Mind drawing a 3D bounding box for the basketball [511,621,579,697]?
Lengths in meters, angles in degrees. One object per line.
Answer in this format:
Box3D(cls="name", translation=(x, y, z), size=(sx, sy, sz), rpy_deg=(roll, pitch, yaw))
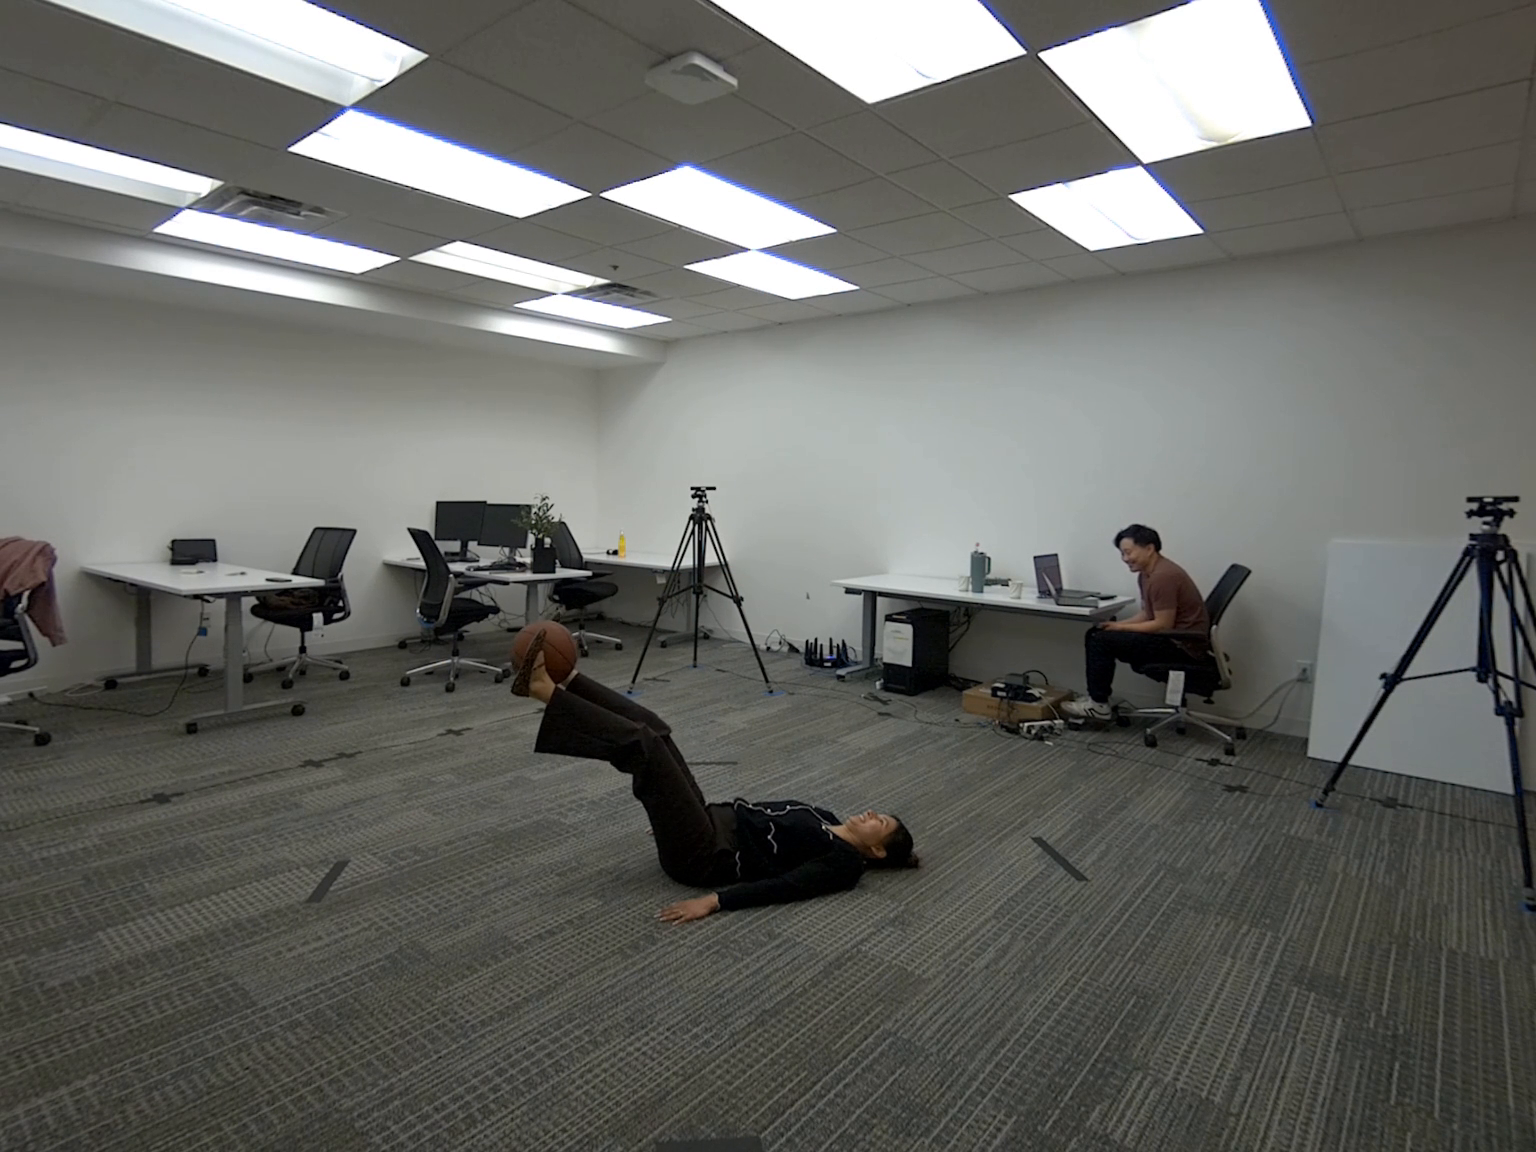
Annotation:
Box3D(cls="basketball", translation=(-0.802, 0.269, 3.014), size=(0.236, 0.234, 0.238), rpy_deg=(0, 7, -2))
